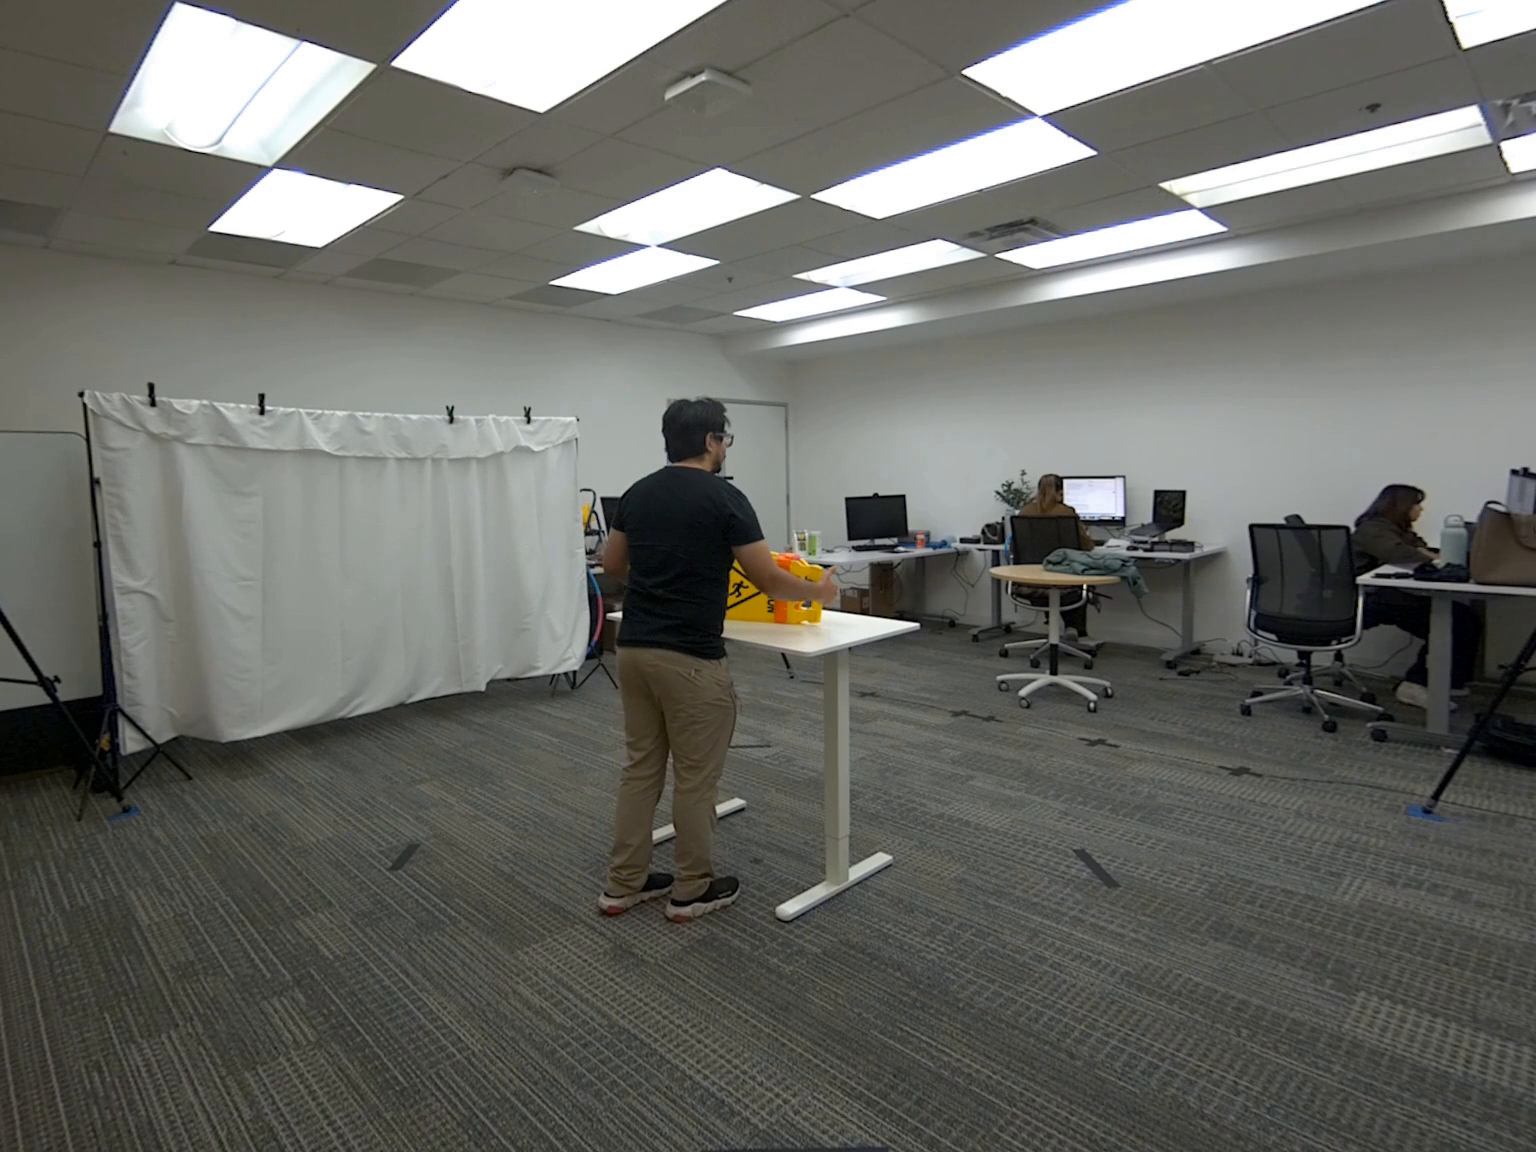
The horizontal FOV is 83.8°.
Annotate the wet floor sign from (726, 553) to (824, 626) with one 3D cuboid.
[{"bbox_3d":[-0.080,0.029,3.112,0.666,0.280,0.283,8,9,36],"label":"wet floor sign"}]
